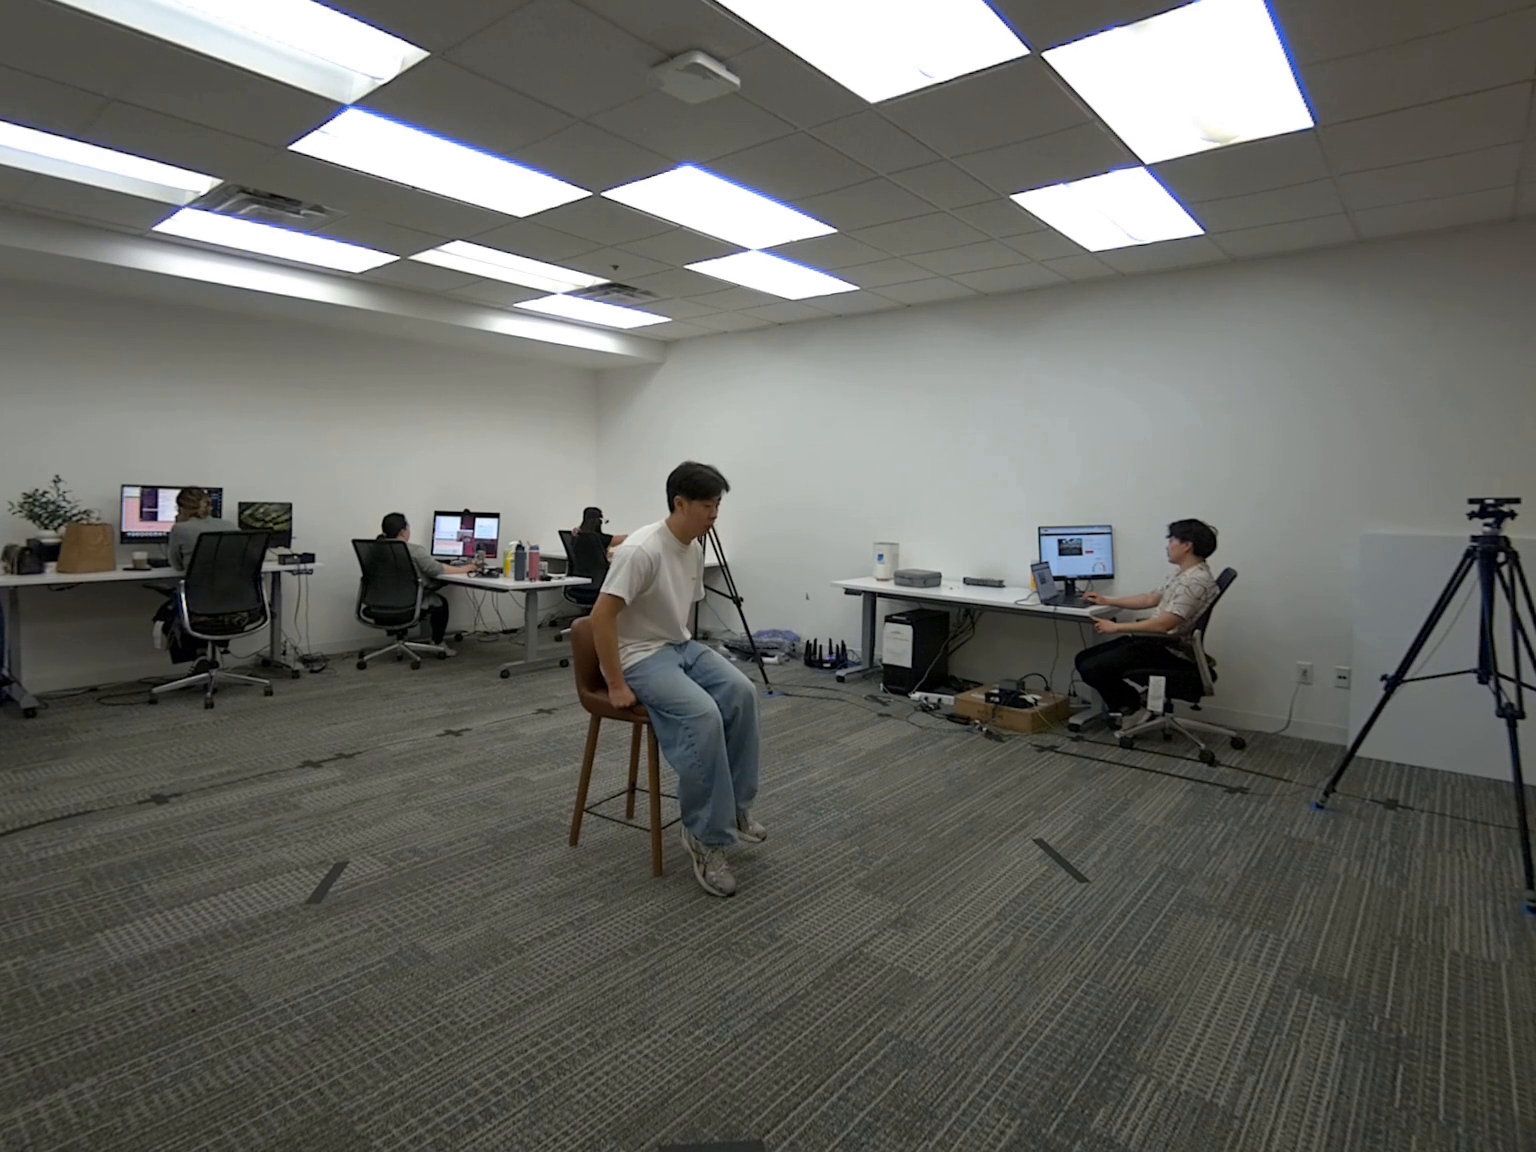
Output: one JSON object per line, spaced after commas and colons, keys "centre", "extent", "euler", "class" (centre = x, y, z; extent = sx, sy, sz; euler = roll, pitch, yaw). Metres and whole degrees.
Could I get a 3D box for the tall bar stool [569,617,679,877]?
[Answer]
{"centre": [-0.500, 0.607, 3.315], "extent": [0.481, 0.889, 0.444], "euler": [0, 1, 31], "class": "tall bar stool"}
